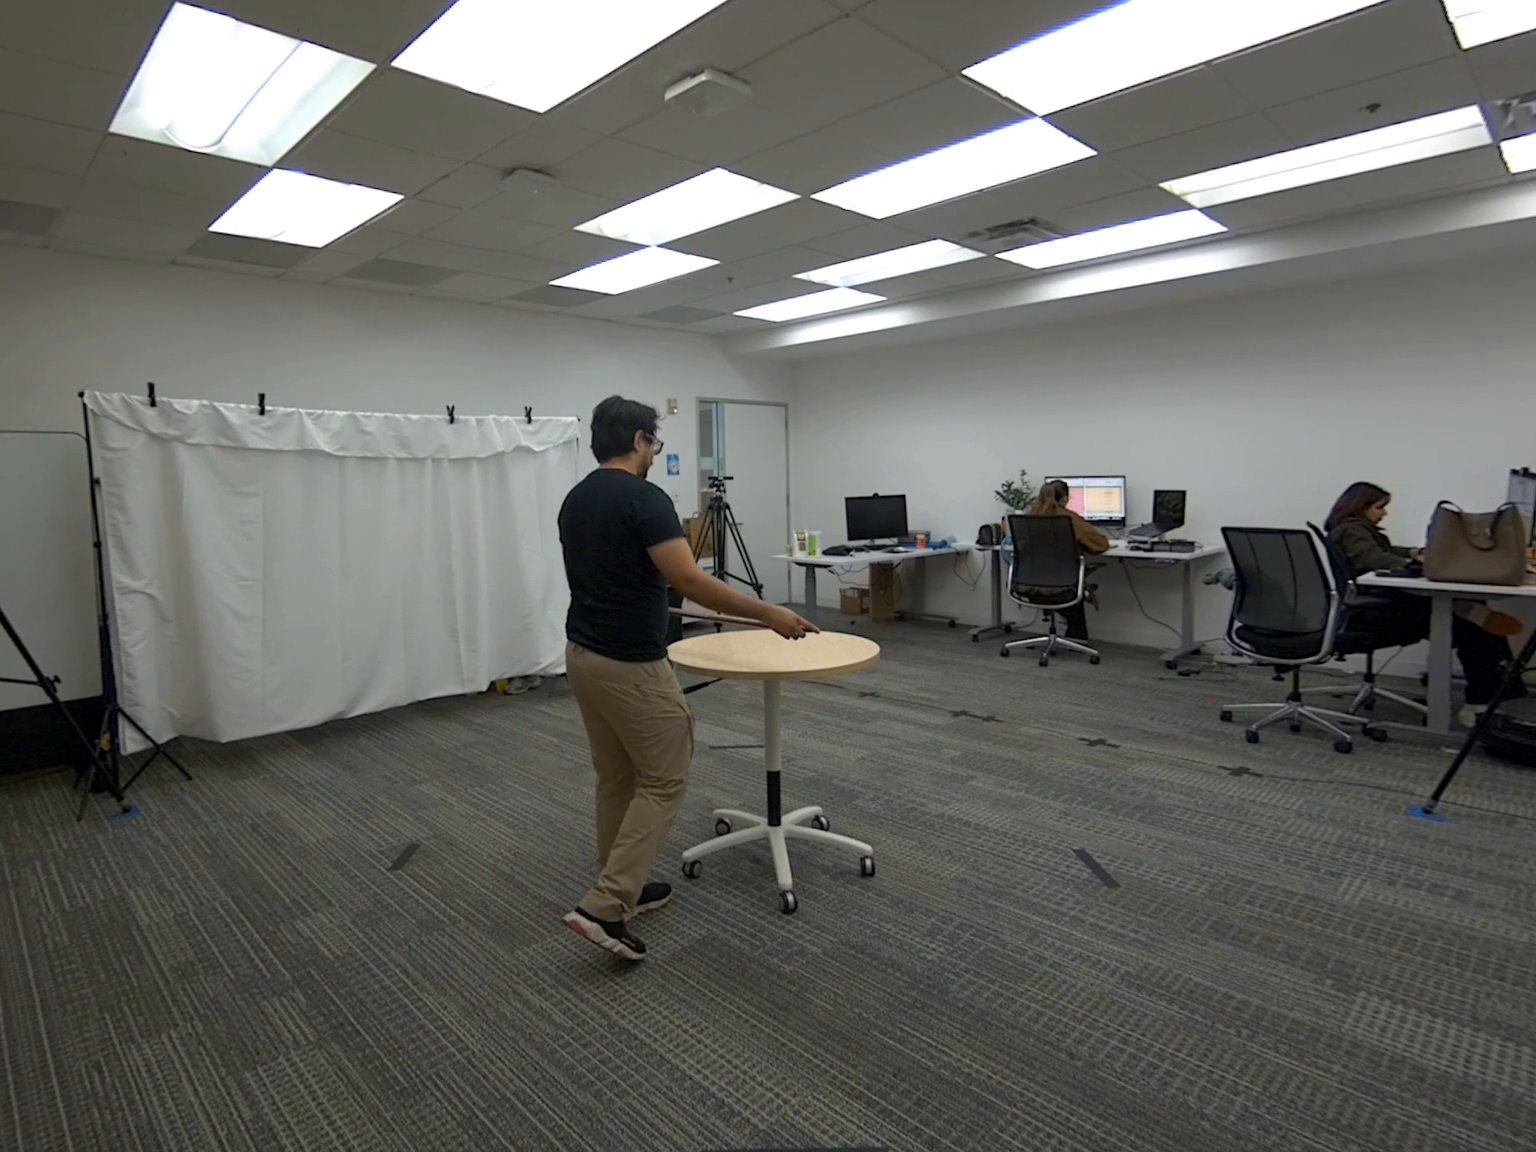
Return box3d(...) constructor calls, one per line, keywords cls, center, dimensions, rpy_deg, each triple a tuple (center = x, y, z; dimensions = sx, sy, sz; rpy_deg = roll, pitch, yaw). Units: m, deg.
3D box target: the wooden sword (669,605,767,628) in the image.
box3d(cls="wooden sword", center=(-0.252, 0.135, 2.967), dimensions=(0.024, 0.050, 1.055), rpy_deg=(-37, 25, -32))
